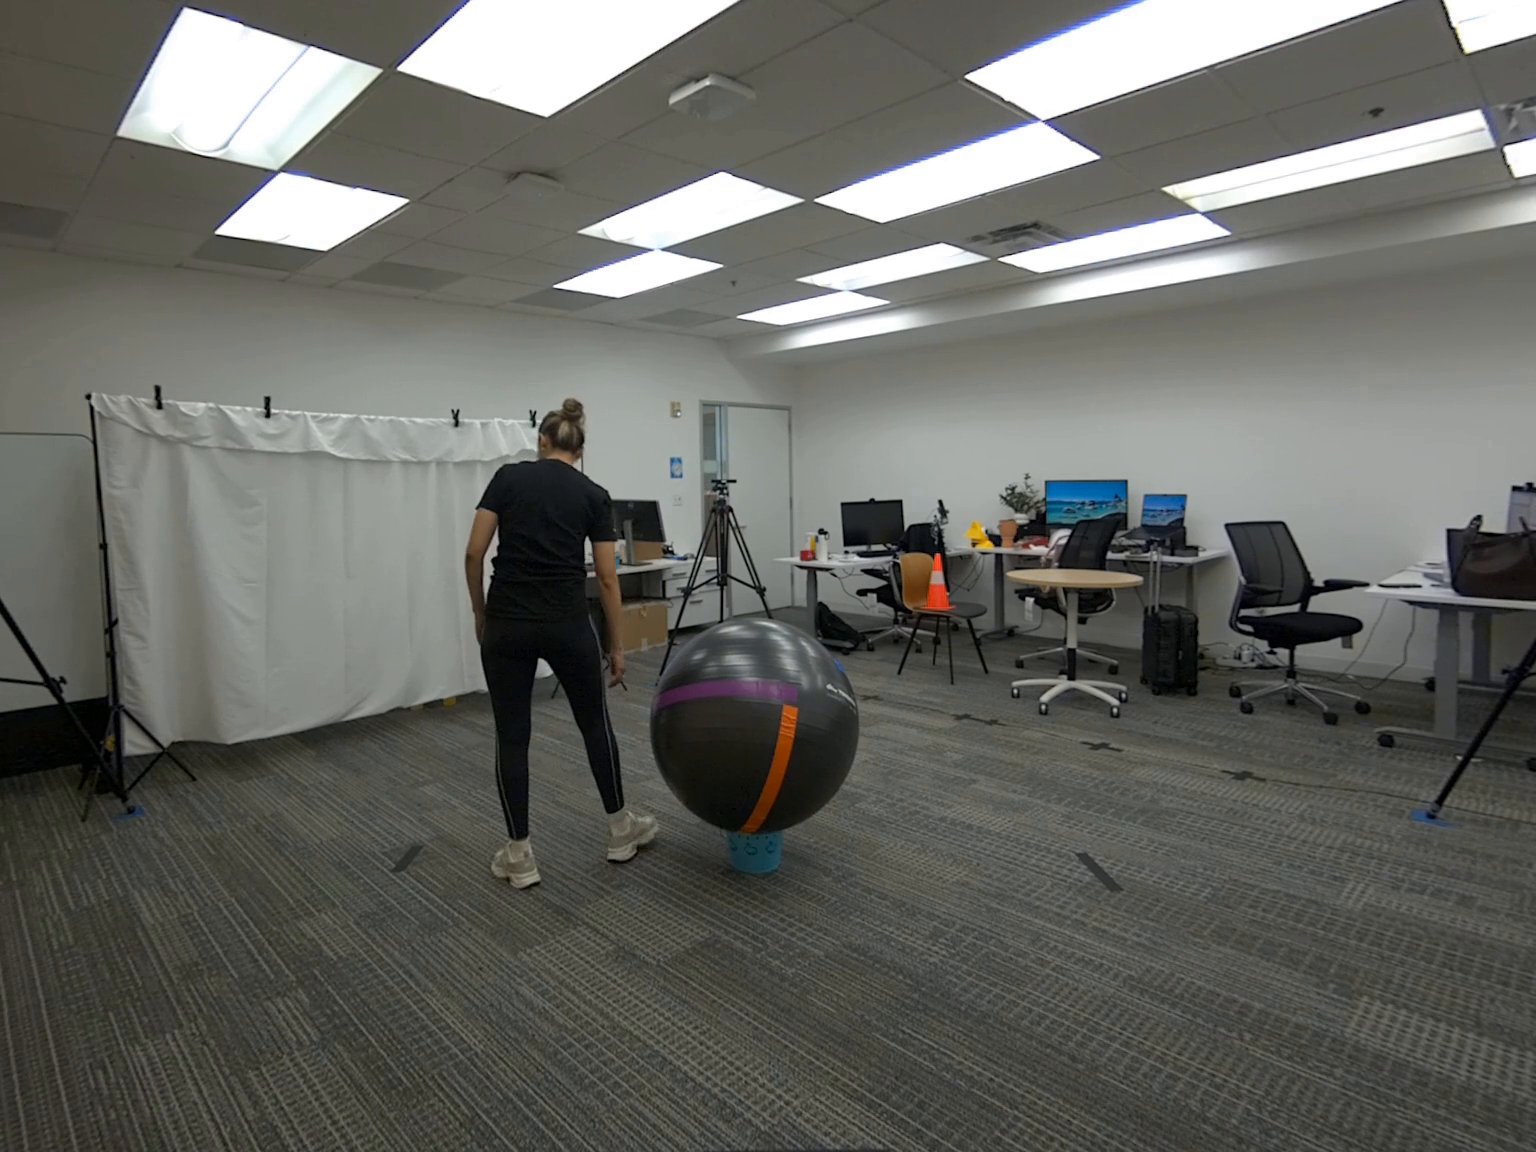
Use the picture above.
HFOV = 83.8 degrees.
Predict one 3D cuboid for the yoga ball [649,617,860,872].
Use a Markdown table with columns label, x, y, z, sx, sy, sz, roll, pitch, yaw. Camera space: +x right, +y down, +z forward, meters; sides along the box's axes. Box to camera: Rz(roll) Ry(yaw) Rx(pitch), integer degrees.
| label | x | y | z | sx | sy | sz | roll | pitch | yaw |
| --- | --- | --- | --- | --- | --- | --- | --- | --- | --- |
| yoga ball | -0.041 | 0.543 | 3.105 | 0.757 | 0.755 | 0.762 | -1 | 5 | -2 |
